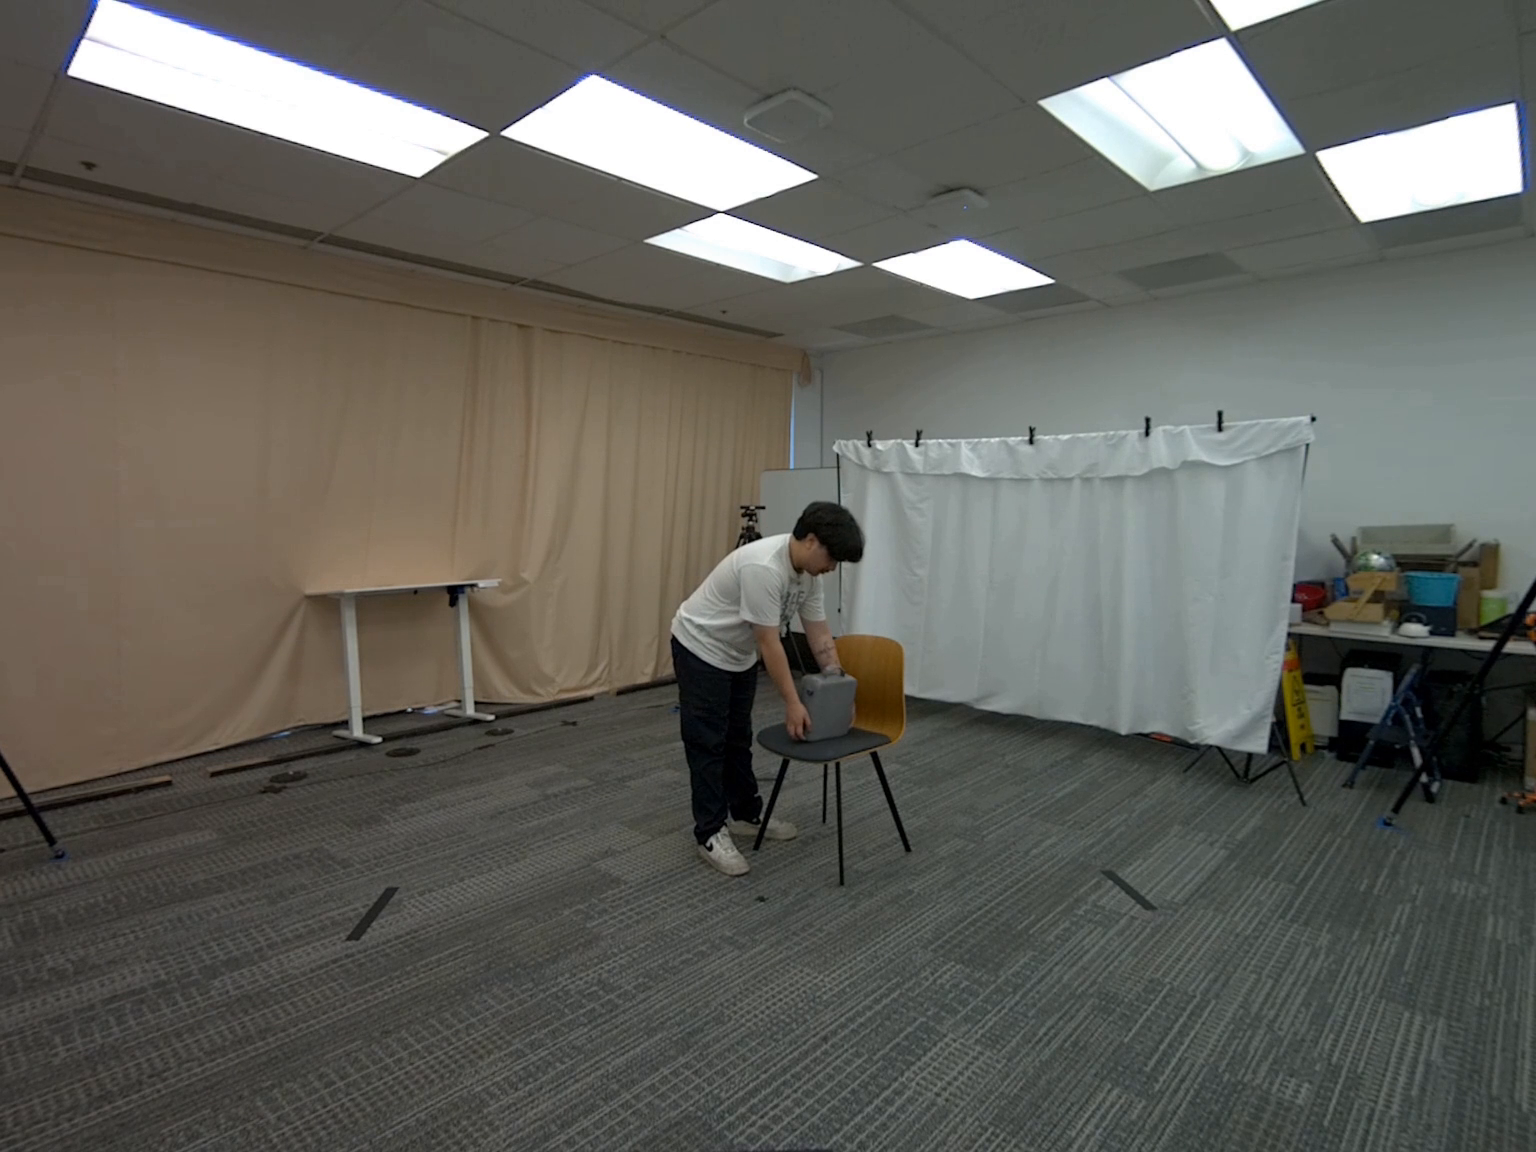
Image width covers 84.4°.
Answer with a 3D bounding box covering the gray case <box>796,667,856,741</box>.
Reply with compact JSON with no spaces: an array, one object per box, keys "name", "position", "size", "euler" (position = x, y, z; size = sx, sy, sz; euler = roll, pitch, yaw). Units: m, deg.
[{"name":"gray case","position":[0.222,0.506,3.322],"size":[0.248,0.260,0.108],"euler":[2,10,-44]}]
